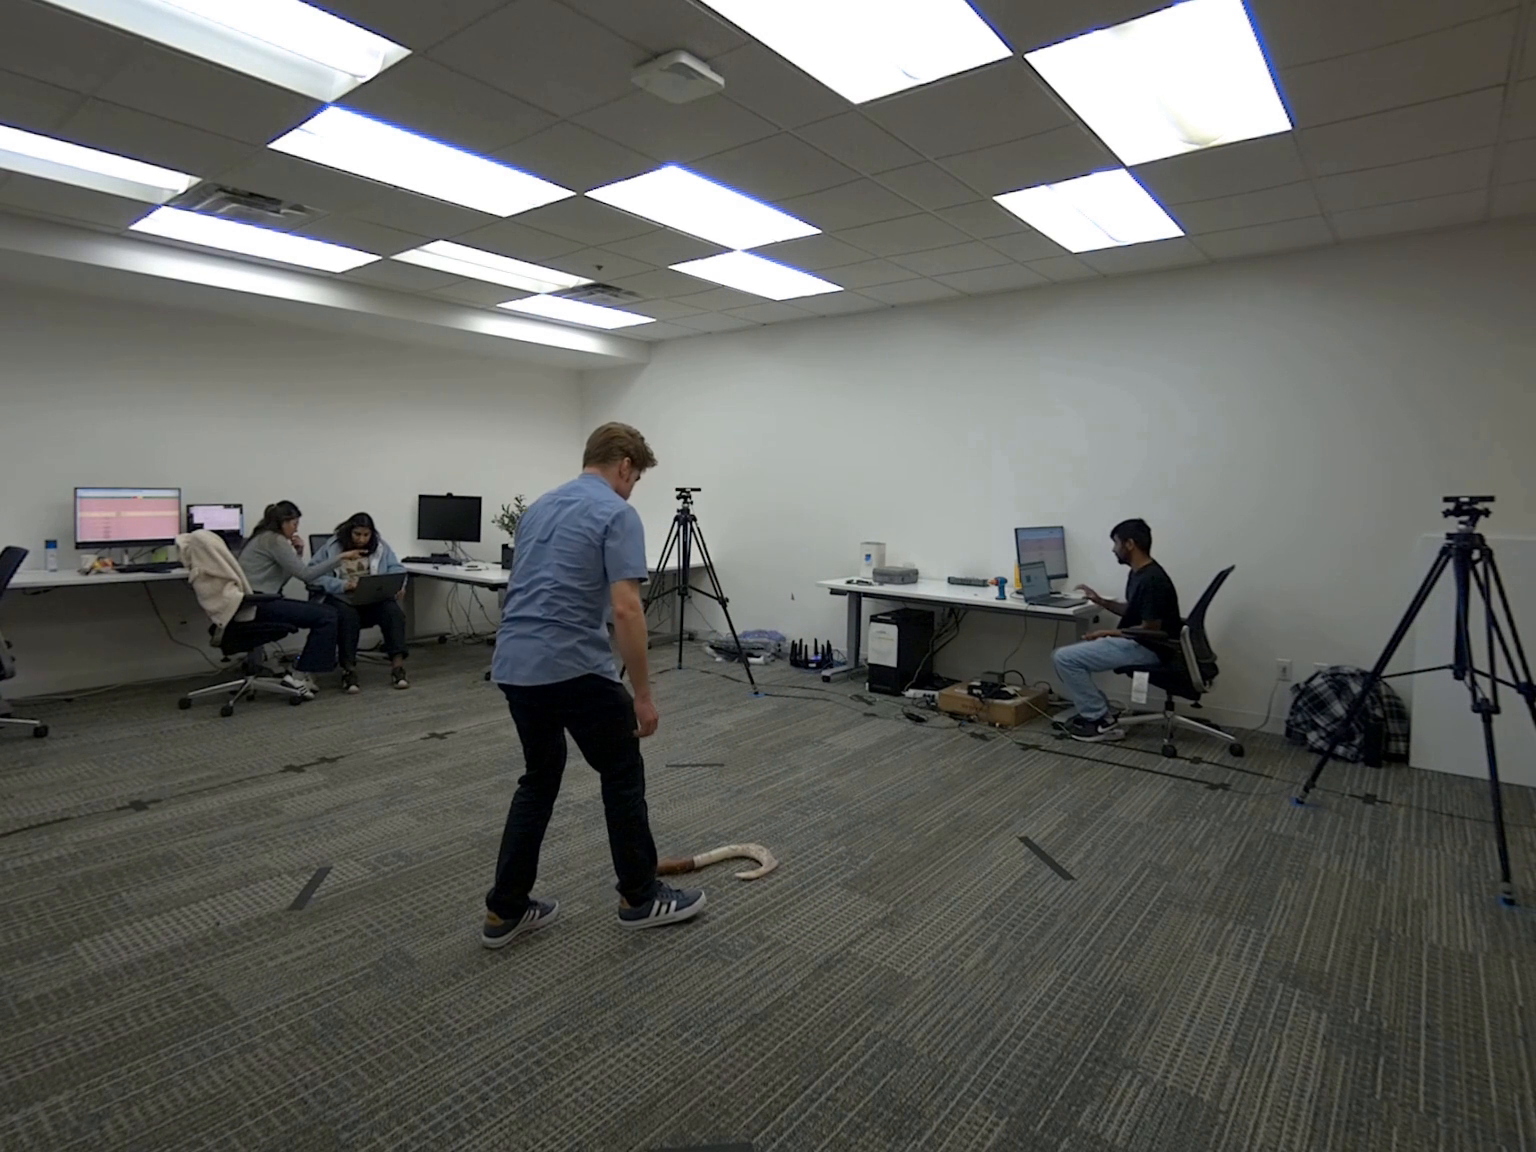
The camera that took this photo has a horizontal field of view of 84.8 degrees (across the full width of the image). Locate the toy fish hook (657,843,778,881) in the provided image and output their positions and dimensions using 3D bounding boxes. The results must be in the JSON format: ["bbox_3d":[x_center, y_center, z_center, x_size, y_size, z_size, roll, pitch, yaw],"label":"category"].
[{"bbox_3d":[-0.216,1.048,3.082,0.495,0.048,0.231,-2,6,-24],"label":"toy fish hook"}]
